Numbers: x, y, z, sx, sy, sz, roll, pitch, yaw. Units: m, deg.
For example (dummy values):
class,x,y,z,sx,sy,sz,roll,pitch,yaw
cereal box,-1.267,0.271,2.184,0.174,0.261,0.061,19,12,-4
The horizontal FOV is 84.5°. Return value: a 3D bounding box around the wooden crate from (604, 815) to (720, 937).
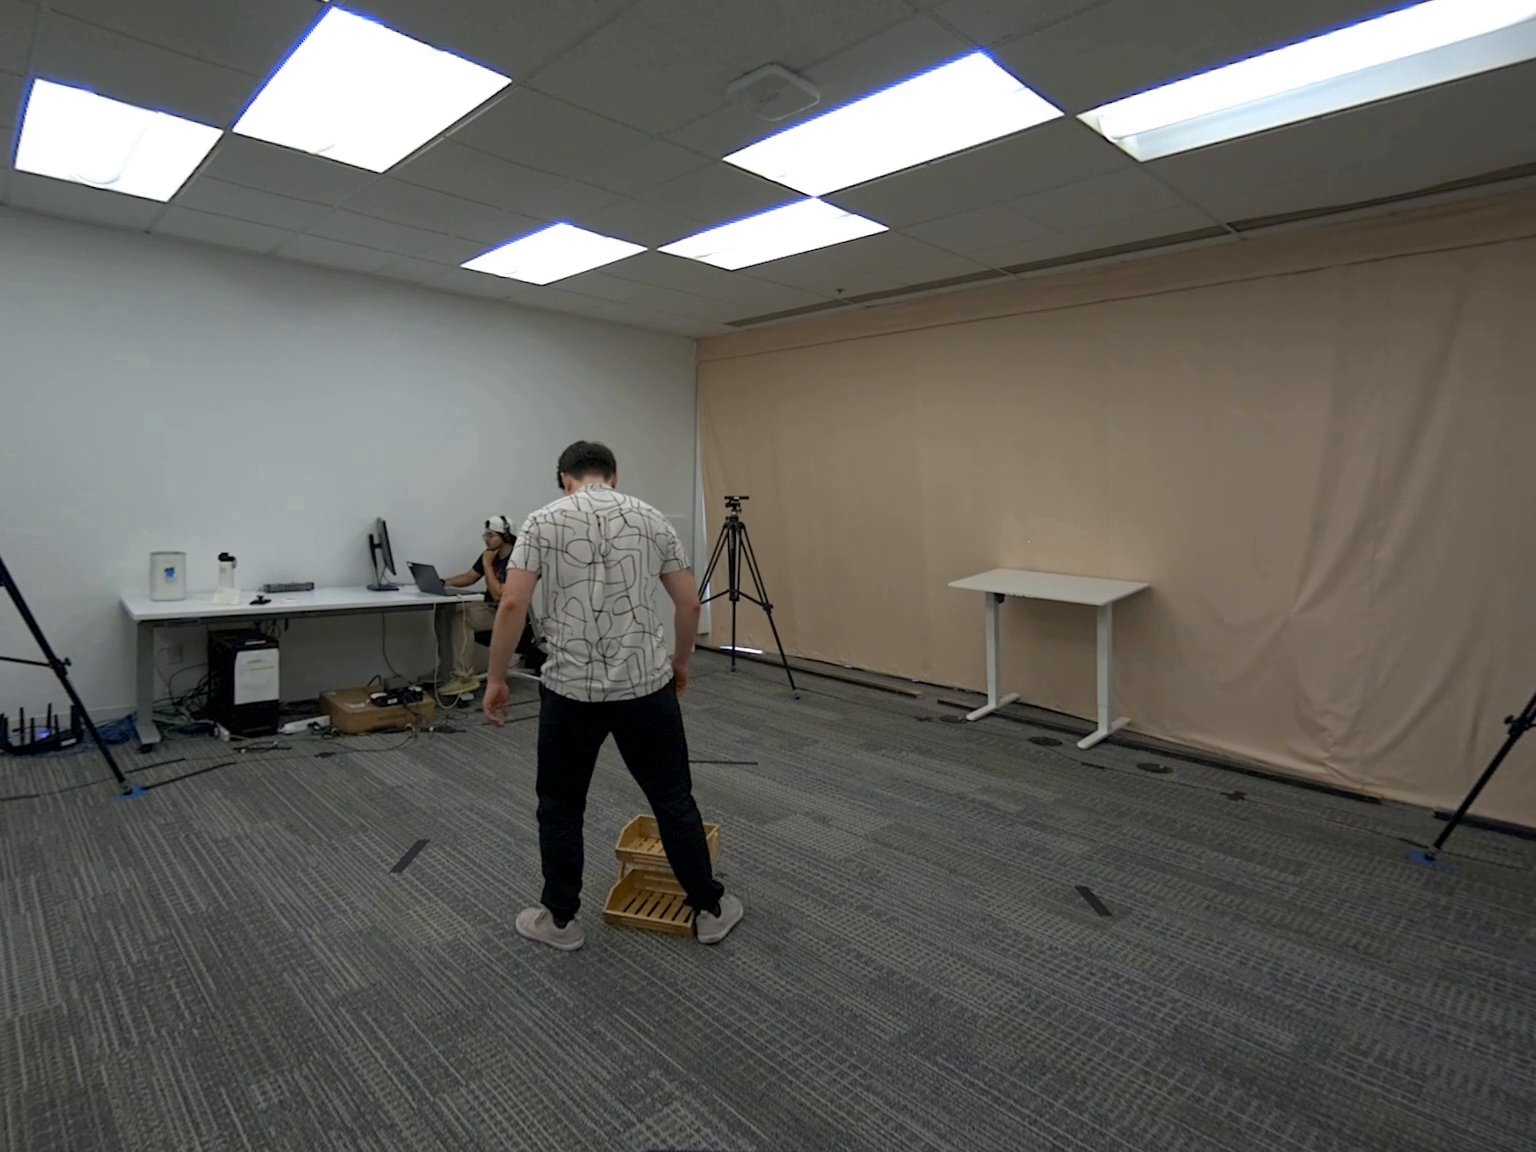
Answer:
class,x,y,z,sx,sy,sz,roll,pitch,yaw
wooden crate,-0.369,0.994,2.812,0.329,0.273,0.298,3,4,16
